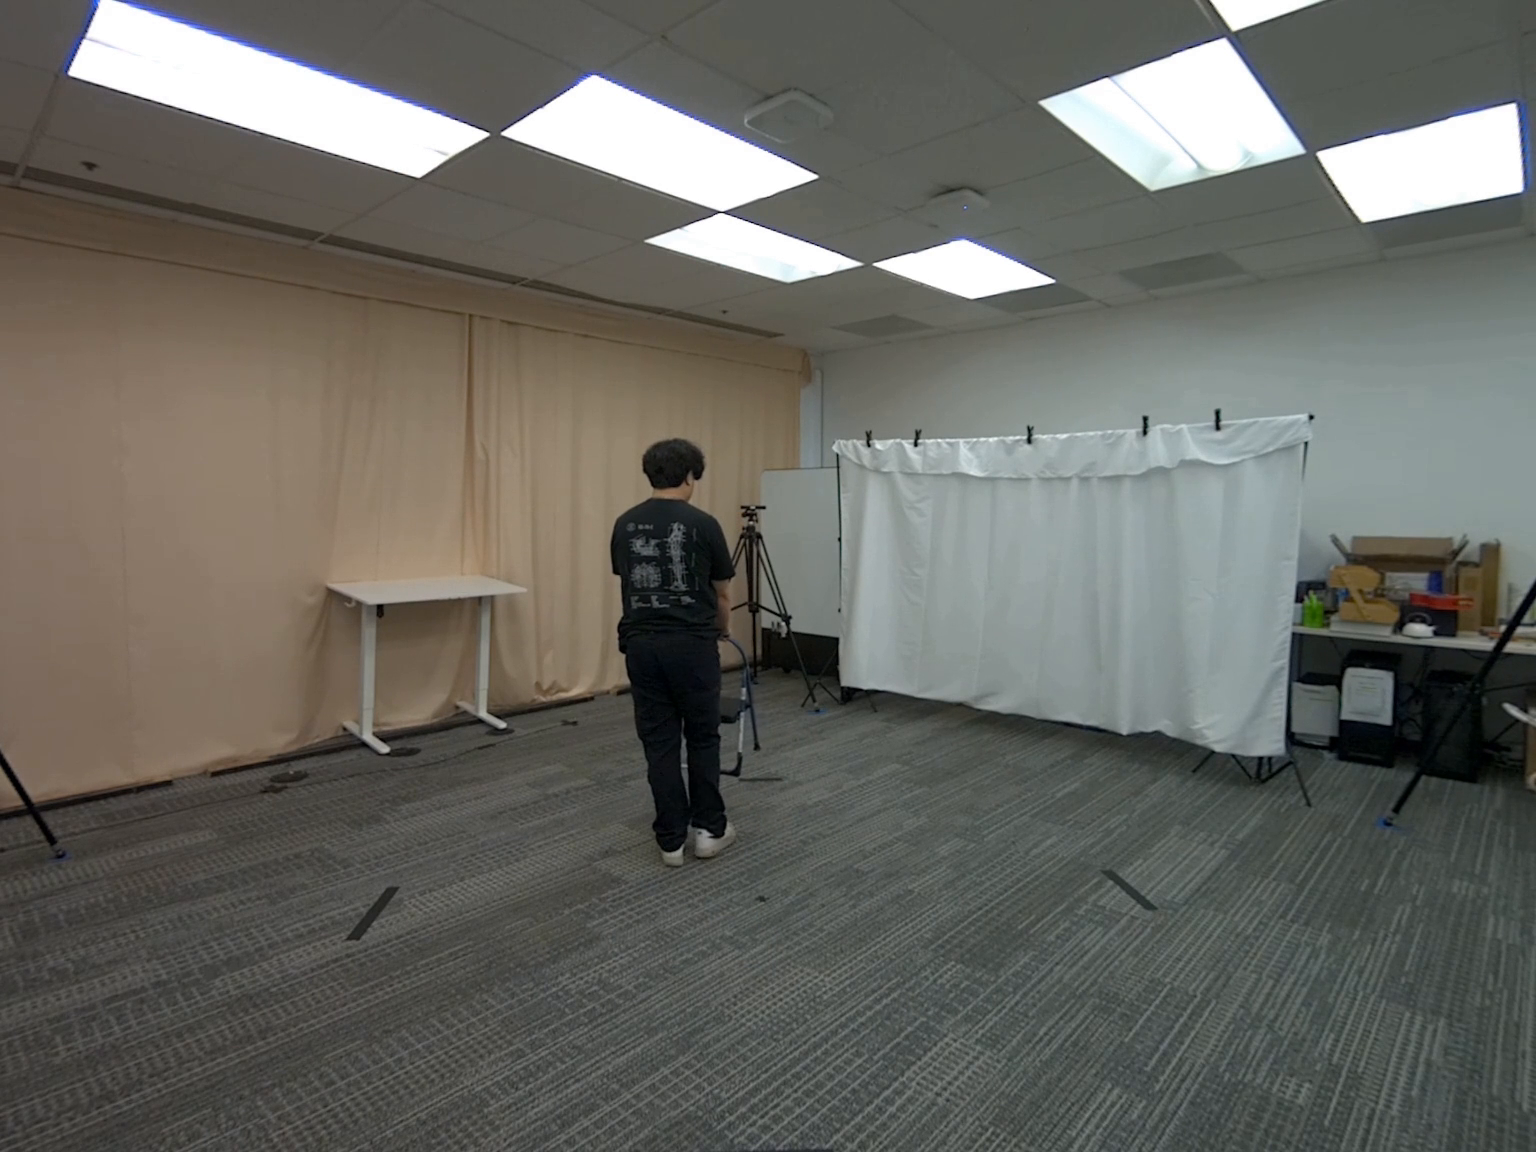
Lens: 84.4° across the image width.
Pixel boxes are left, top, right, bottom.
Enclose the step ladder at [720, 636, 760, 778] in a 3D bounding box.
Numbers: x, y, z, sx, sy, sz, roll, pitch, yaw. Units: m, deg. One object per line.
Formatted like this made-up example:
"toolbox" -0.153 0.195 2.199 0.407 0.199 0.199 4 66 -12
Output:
"step ladder" -0.280 0.525 3.744 0.438 0.602 0.345 3 10 16
